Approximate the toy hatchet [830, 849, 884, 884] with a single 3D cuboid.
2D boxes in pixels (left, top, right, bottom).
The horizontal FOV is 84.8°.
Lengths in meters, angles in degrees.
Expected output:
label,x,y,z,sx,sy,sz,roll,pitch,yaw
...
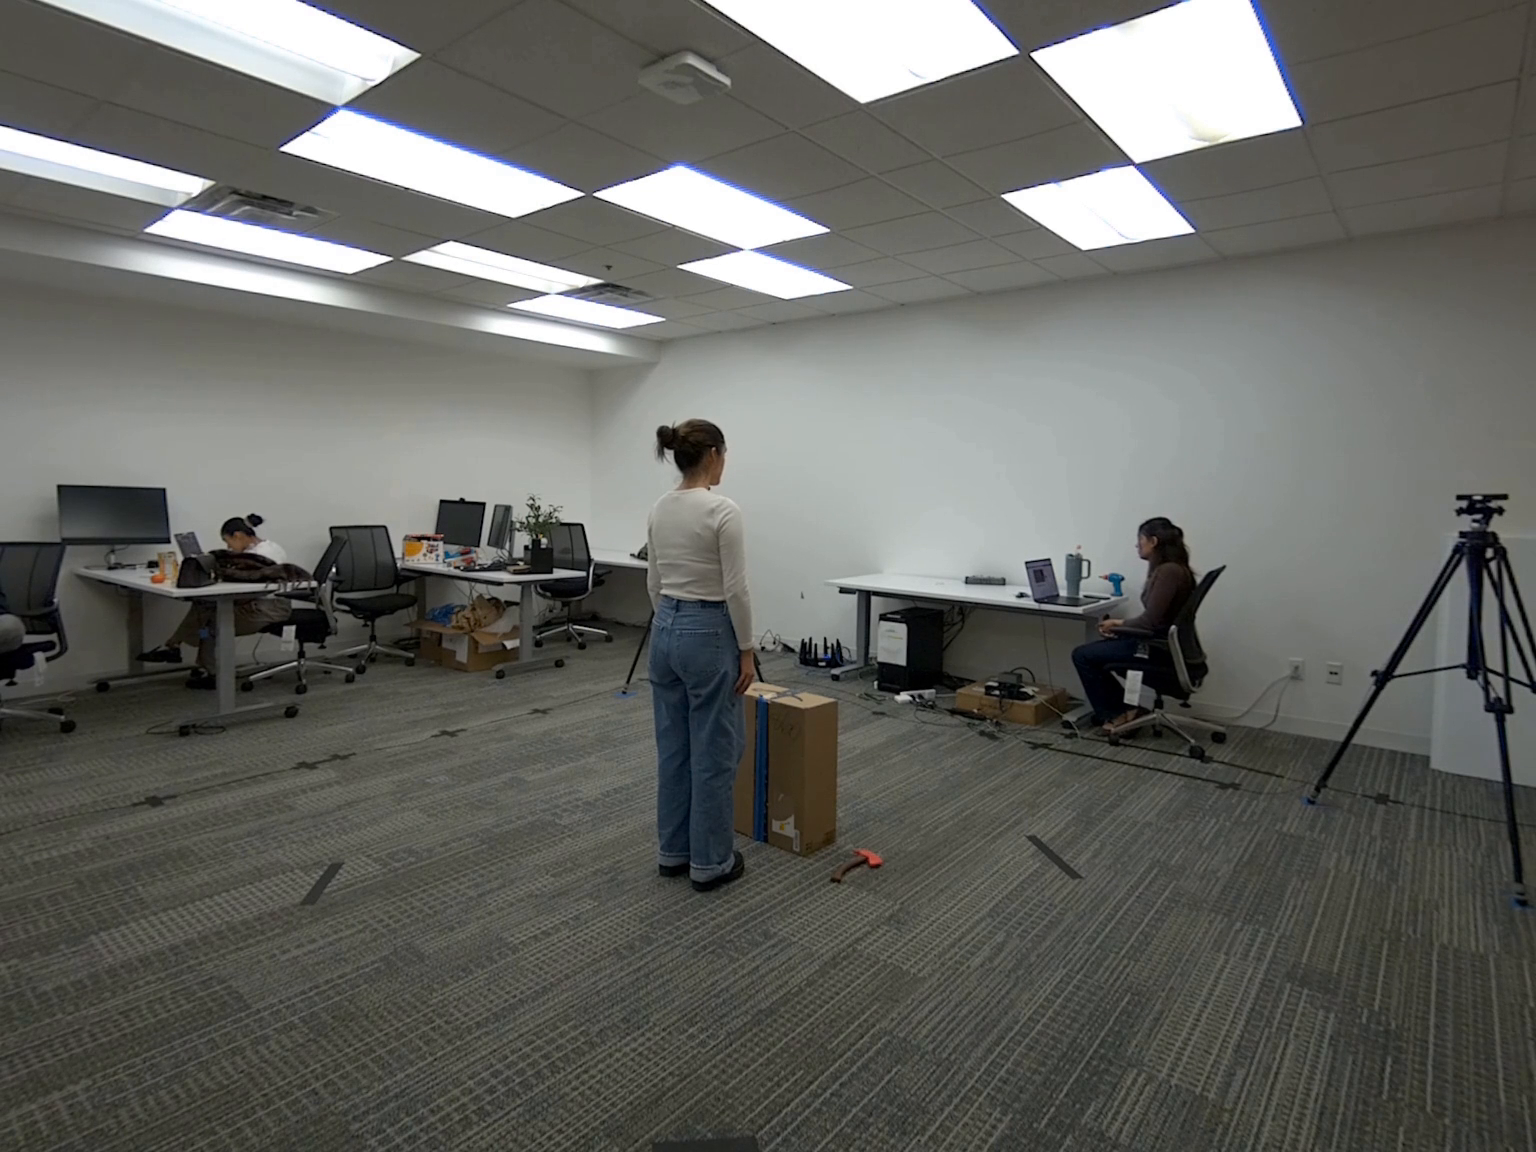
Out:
label,x,y,z,sx,sy,sz,roll,pitch,yaw
toy hatchet,0.323,1.065,3.105,0.135,0.029,0.264,5,8,26
